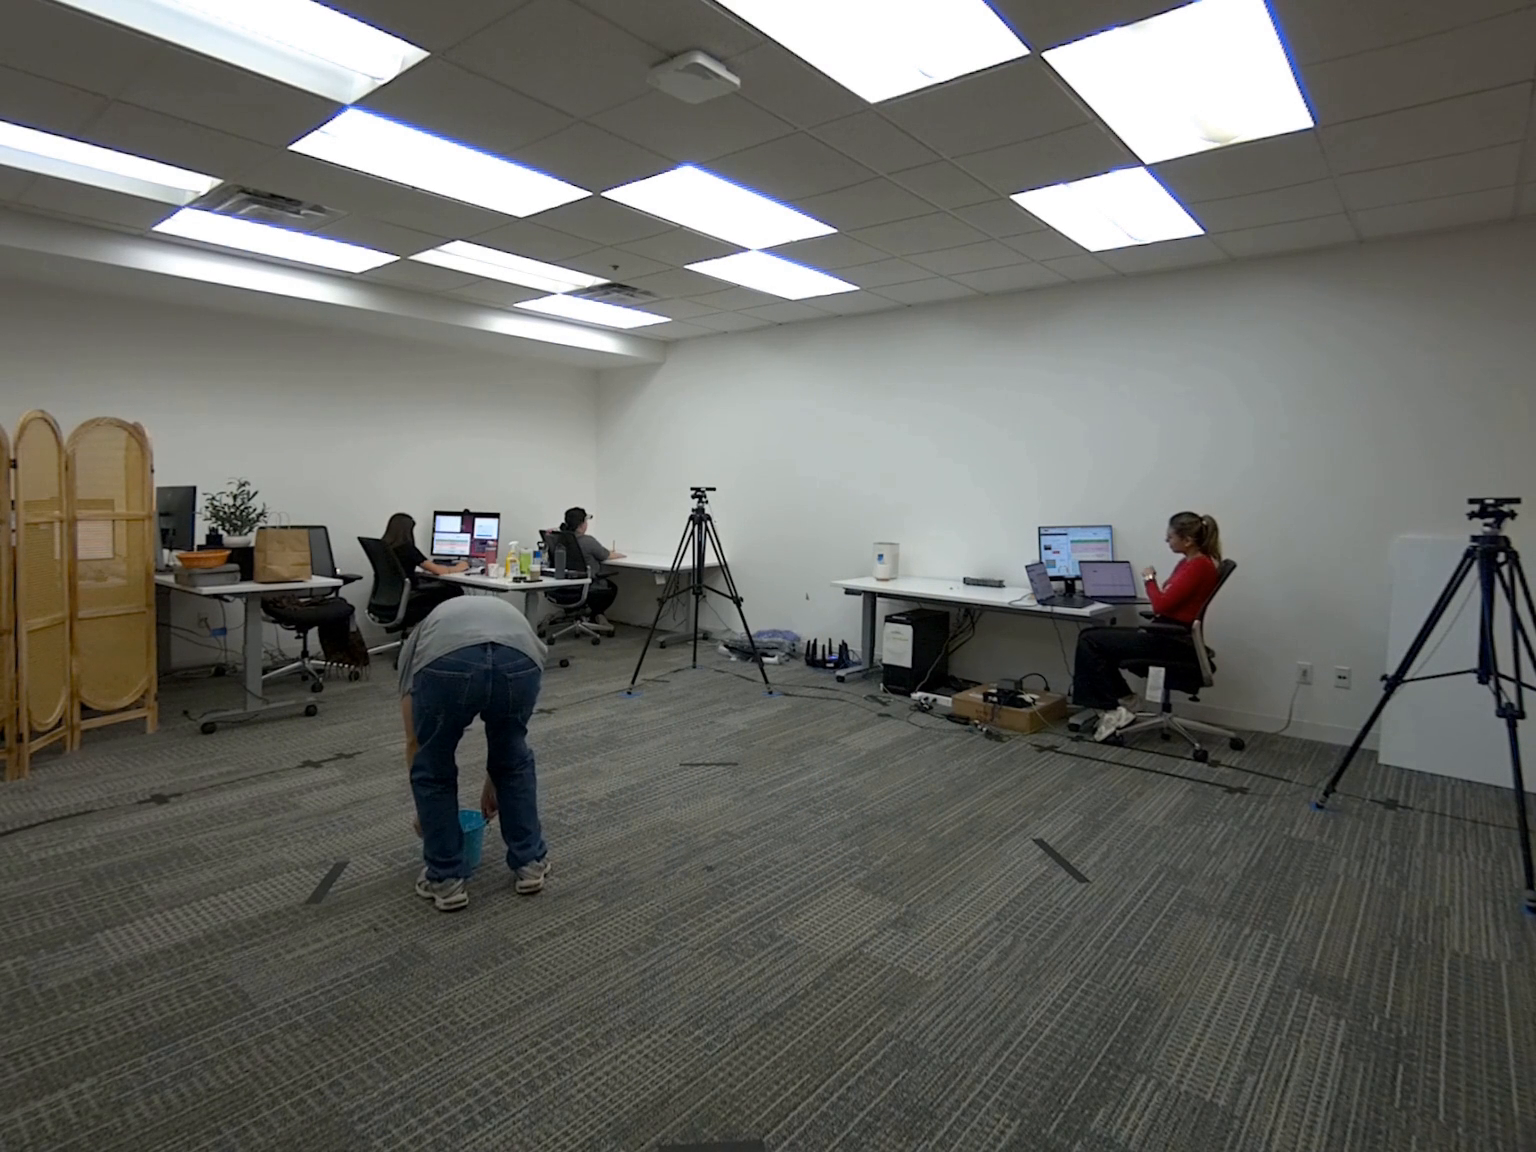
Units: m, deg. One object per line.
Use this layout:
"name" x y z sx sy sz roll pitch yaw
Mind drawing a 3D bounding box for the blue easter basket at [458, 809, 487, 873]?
"blue easter basket" -1.148 0.952 3.112 0.243 0.155 0.245 1 4 -2
